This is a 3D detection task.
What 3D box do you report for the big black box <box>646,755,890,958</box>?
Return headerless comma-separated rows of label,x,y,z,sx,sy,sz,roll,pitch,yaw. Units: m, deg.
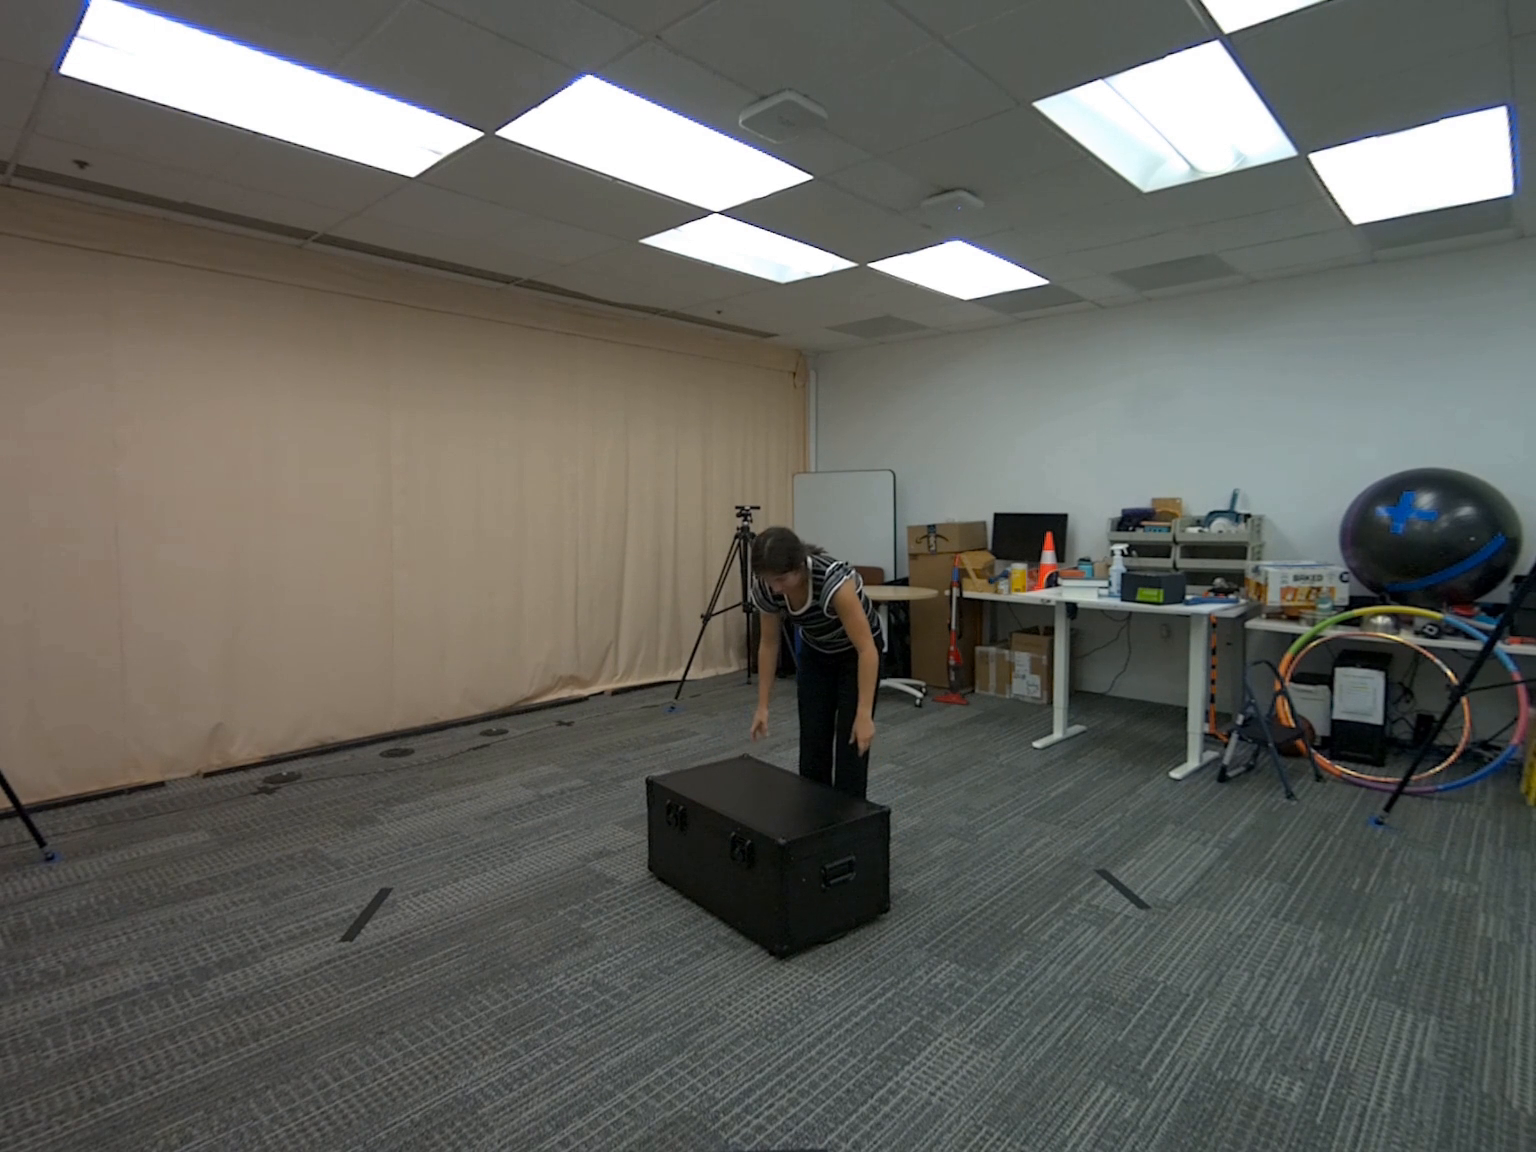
big black box,-0.039,0.948,3.022,0.506,0.395,0.890,-4,6,-38
